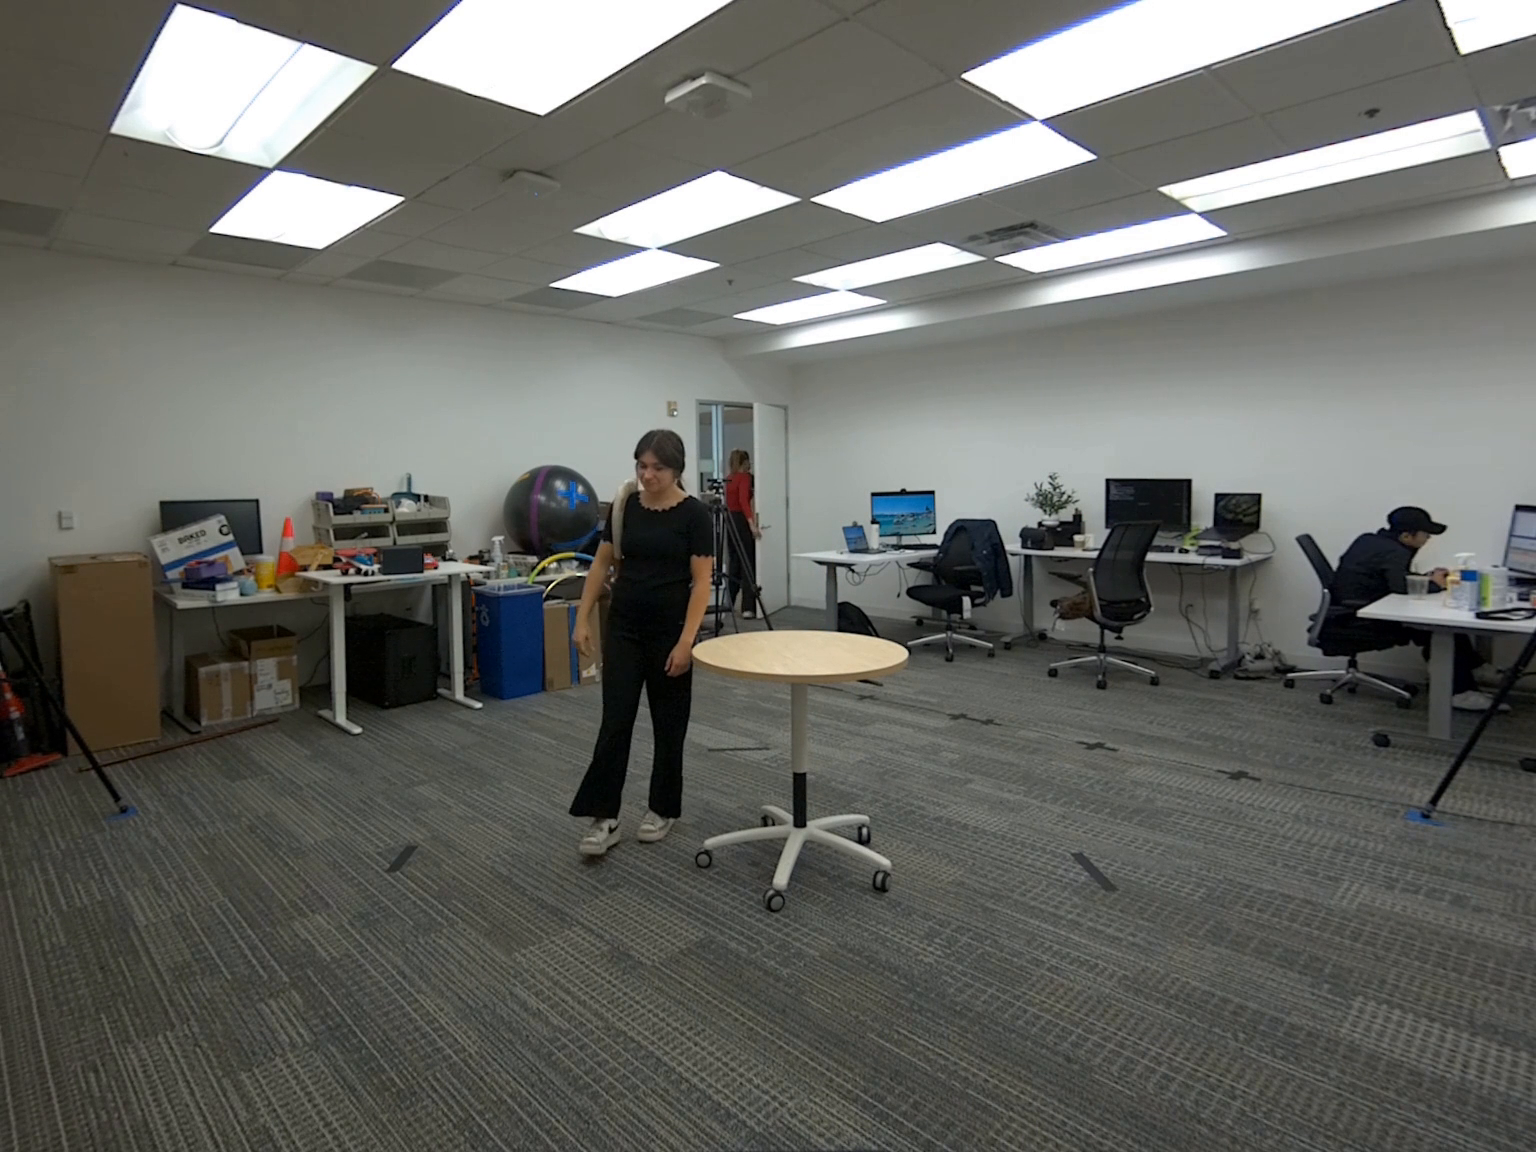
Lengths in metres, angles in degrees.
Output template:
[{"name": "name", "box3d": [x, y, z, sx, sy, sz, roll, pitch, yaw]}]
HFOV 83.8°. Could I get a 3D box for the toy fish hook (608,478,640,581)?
[{"name": "toy fish hook", "box3d": [-0.564, -0.137, 3.392, 0.049, 0.502, 0.221, 10, 11, 19]}]
